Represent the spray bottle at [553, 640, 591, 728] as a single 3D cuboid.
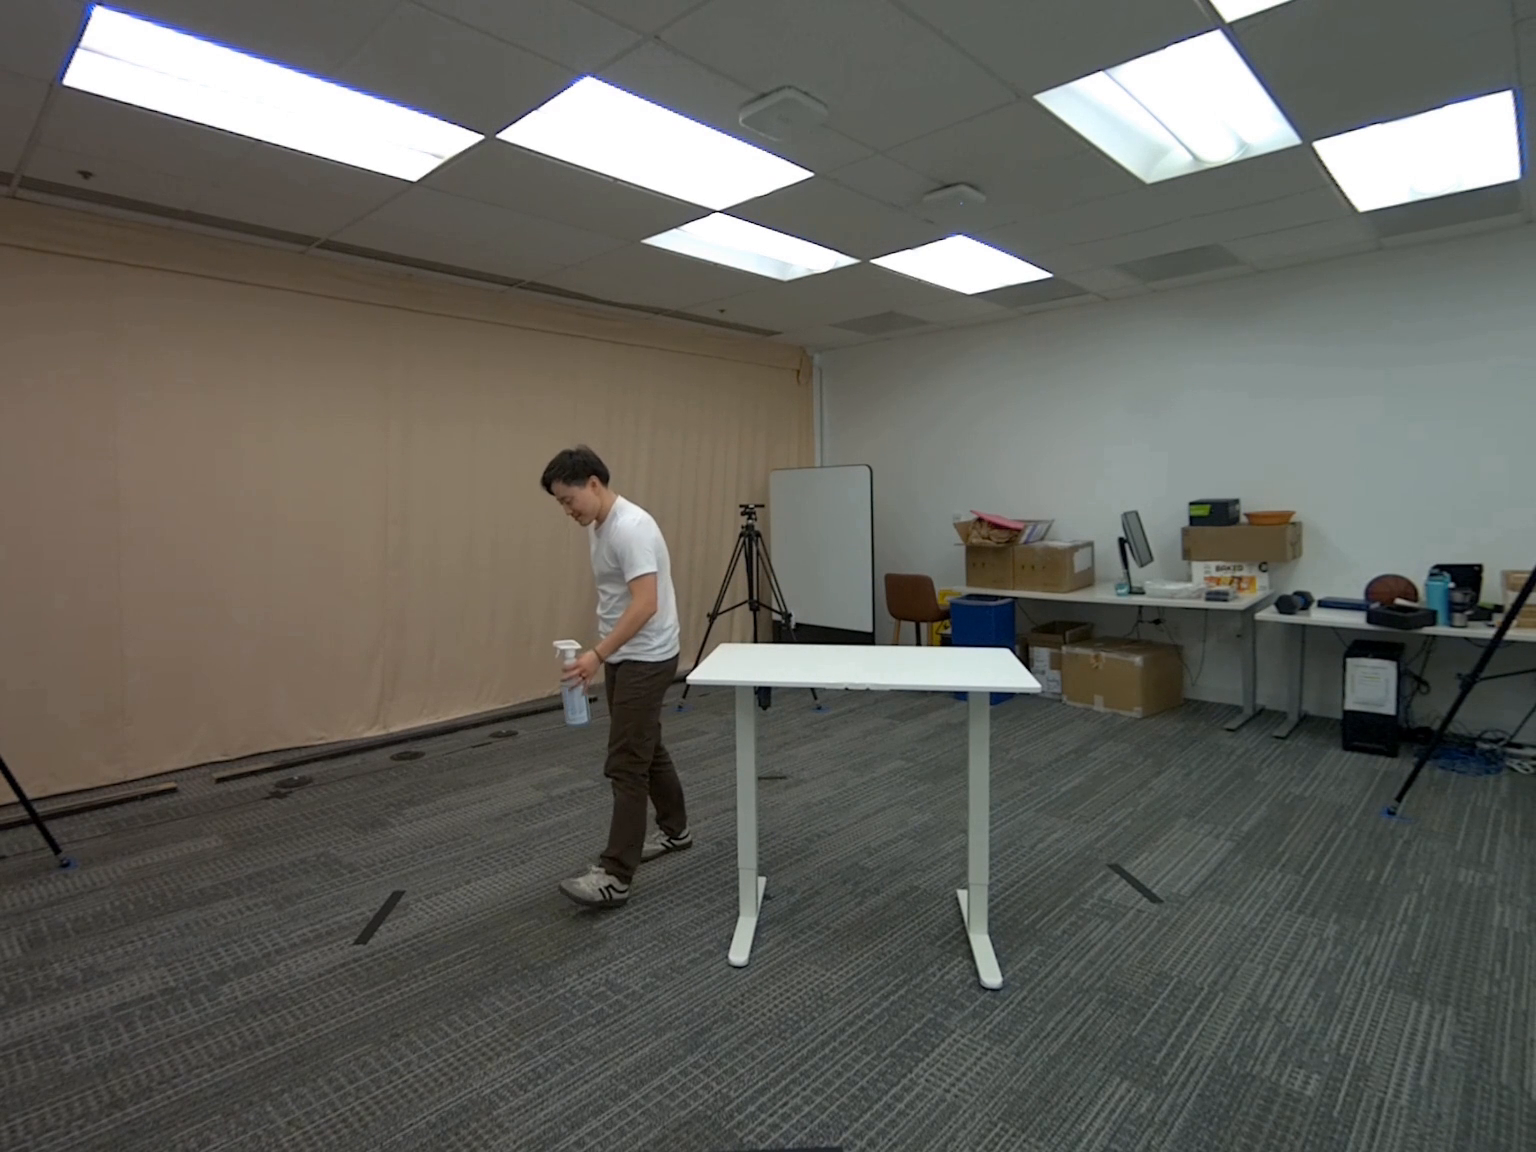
[{"bbox_3d":[-0.662,0.369,2.882,0.092,0.295,0.086,-3,9,18],"label":"spray bottle"}]
